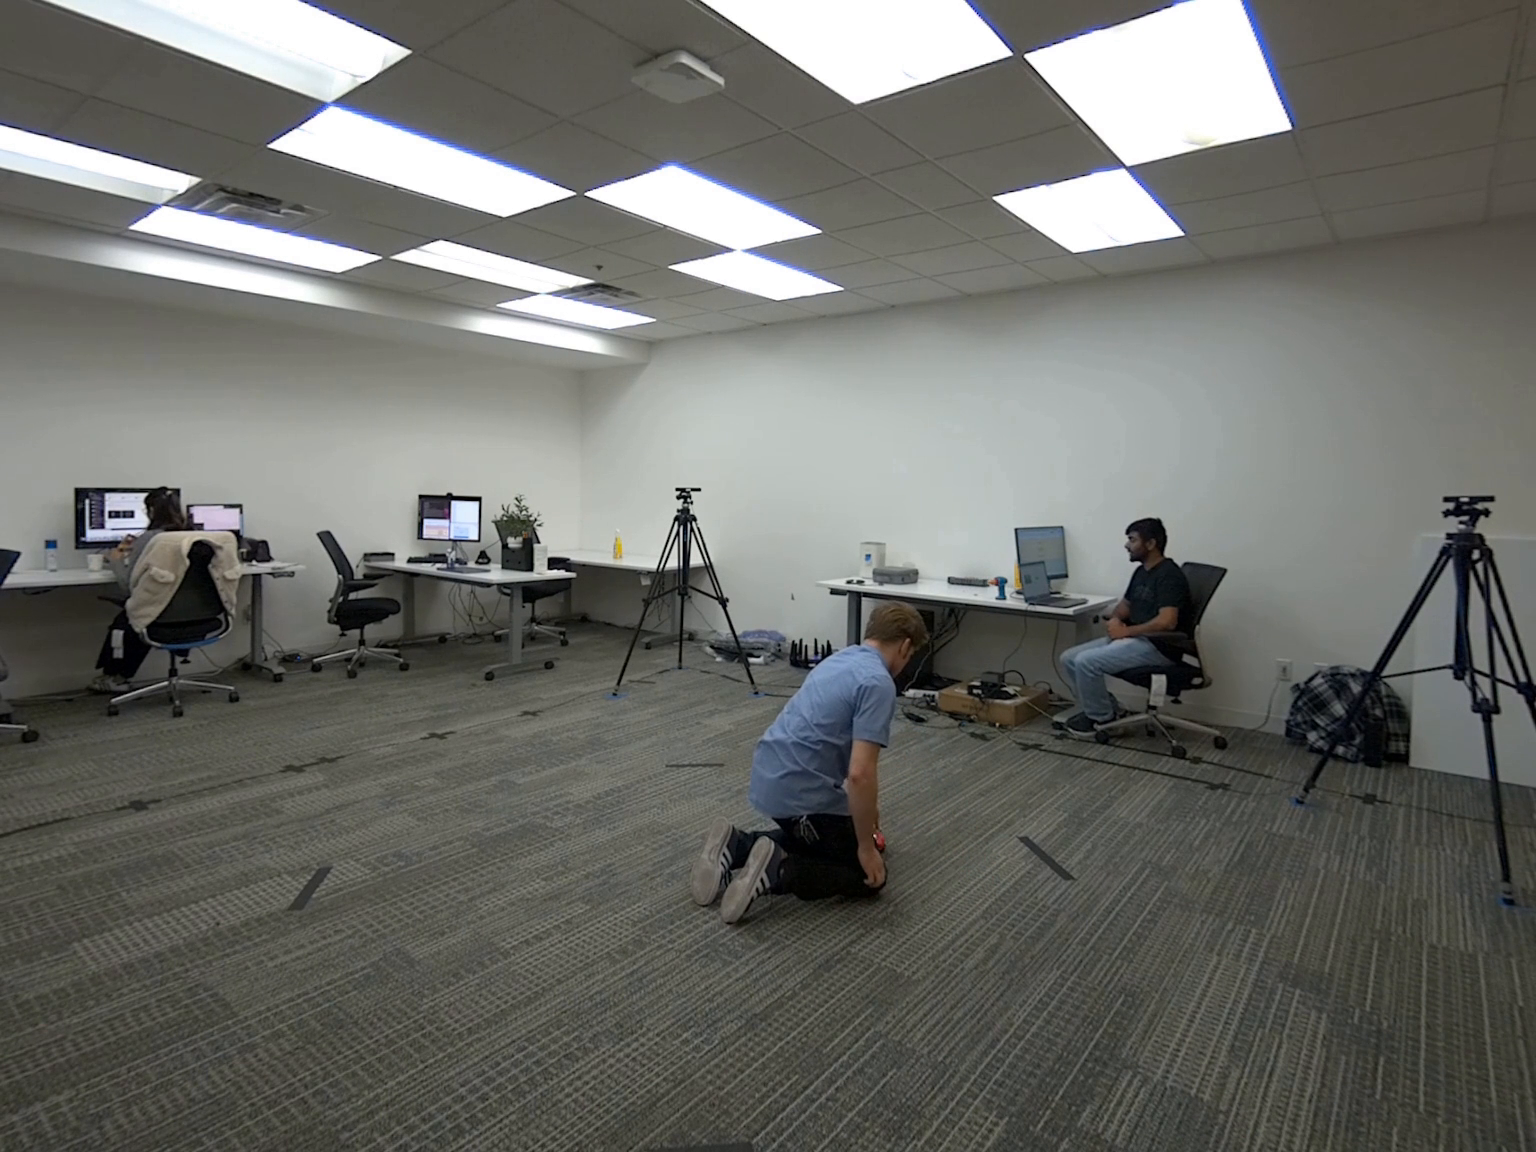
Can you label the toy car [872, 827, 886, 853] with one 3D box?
[{"bbox_3d":[0.399,1.022,3.354,0.131,0.084,0.252,3,-6,3],"label":"toy car"}]
